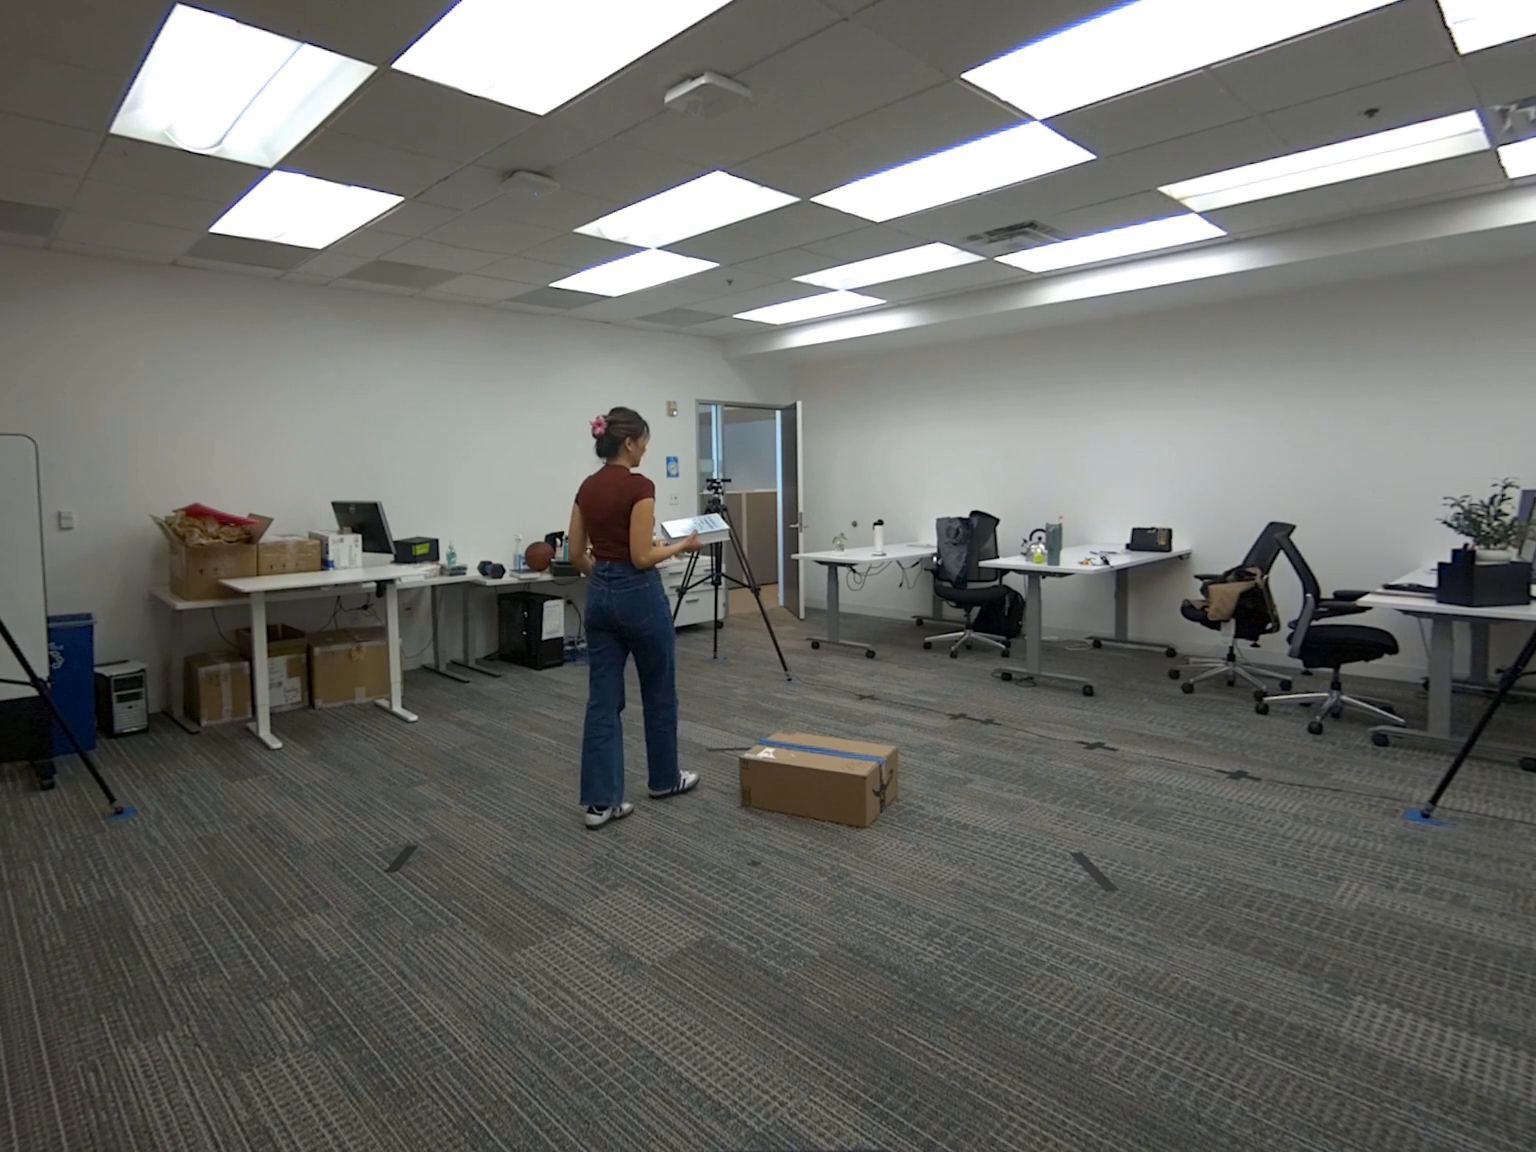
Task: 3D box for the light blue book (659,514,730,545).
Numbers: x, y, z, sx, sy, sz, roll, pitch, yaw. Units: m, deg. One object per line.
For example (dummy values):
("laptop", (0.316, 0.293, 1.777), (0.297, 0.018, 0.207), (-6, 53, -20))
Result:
("light blue book", (-0.323, -0.196, 3.735), (0.258, 0.058, 0.198), (-11, 27, -17))
